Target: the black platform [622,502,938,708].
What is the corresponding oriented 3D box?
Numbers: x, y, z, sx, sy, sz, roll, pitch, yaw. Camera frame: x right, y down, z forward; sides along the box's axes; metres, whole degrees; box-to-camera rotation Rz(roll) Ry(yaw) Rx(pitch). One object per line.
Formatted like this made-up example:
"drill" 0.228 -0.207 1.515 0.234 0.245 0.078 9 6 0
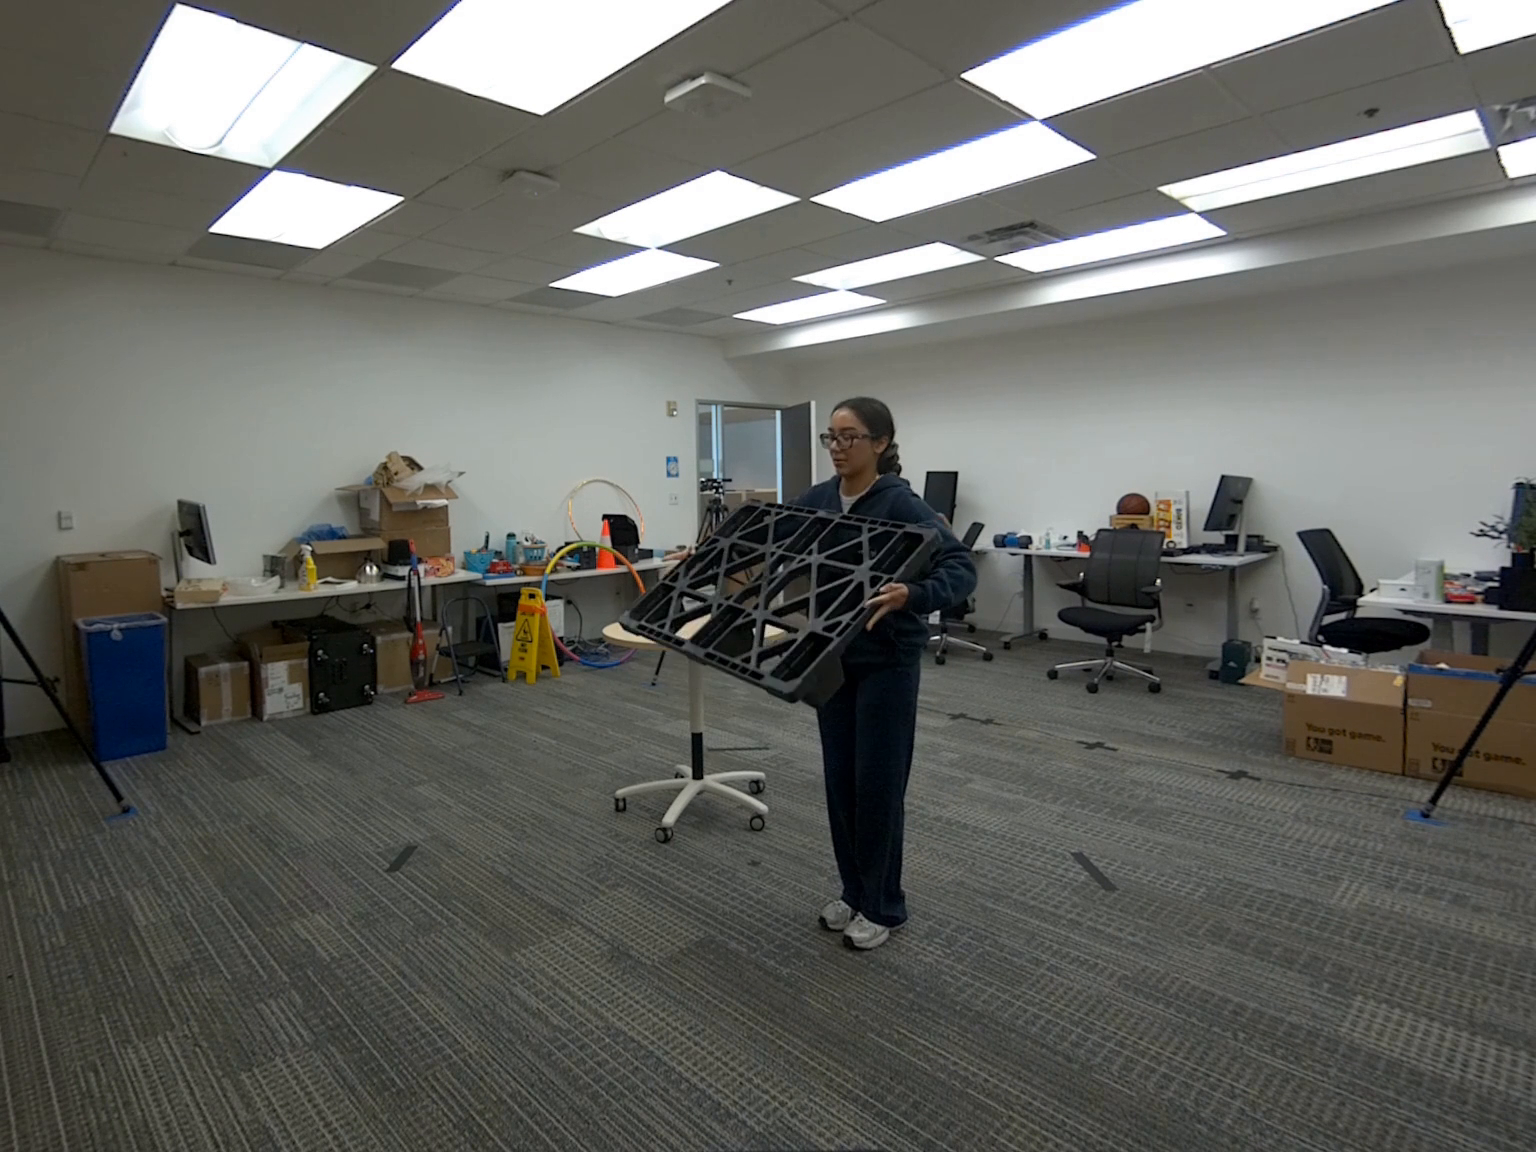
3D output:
"black platform" 0.016 0.066 2.379 0.604 0.139 0.833 -45 33 -23
